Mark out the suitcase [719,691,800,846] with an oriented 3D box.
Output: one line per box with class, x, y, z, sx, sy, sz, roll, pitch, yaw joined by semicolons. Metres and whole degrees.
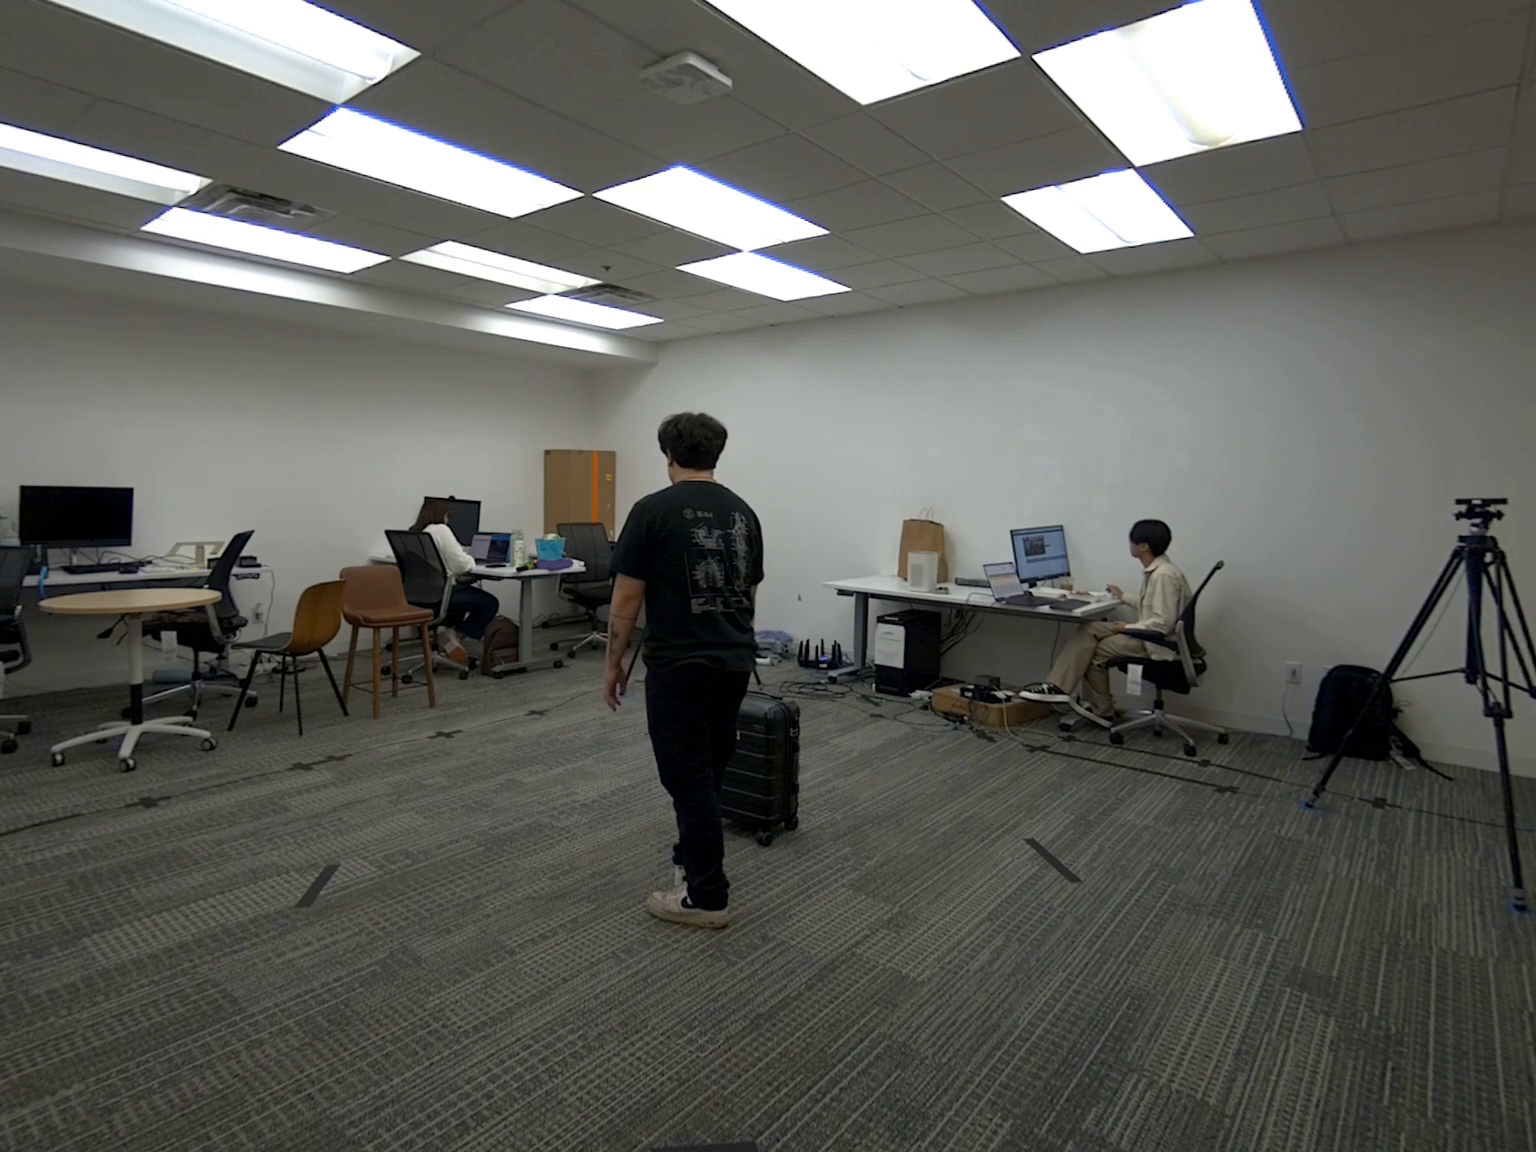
suitcase;-0.067;0.759;3.506;0.387;0.548;0.241;4;2;32
